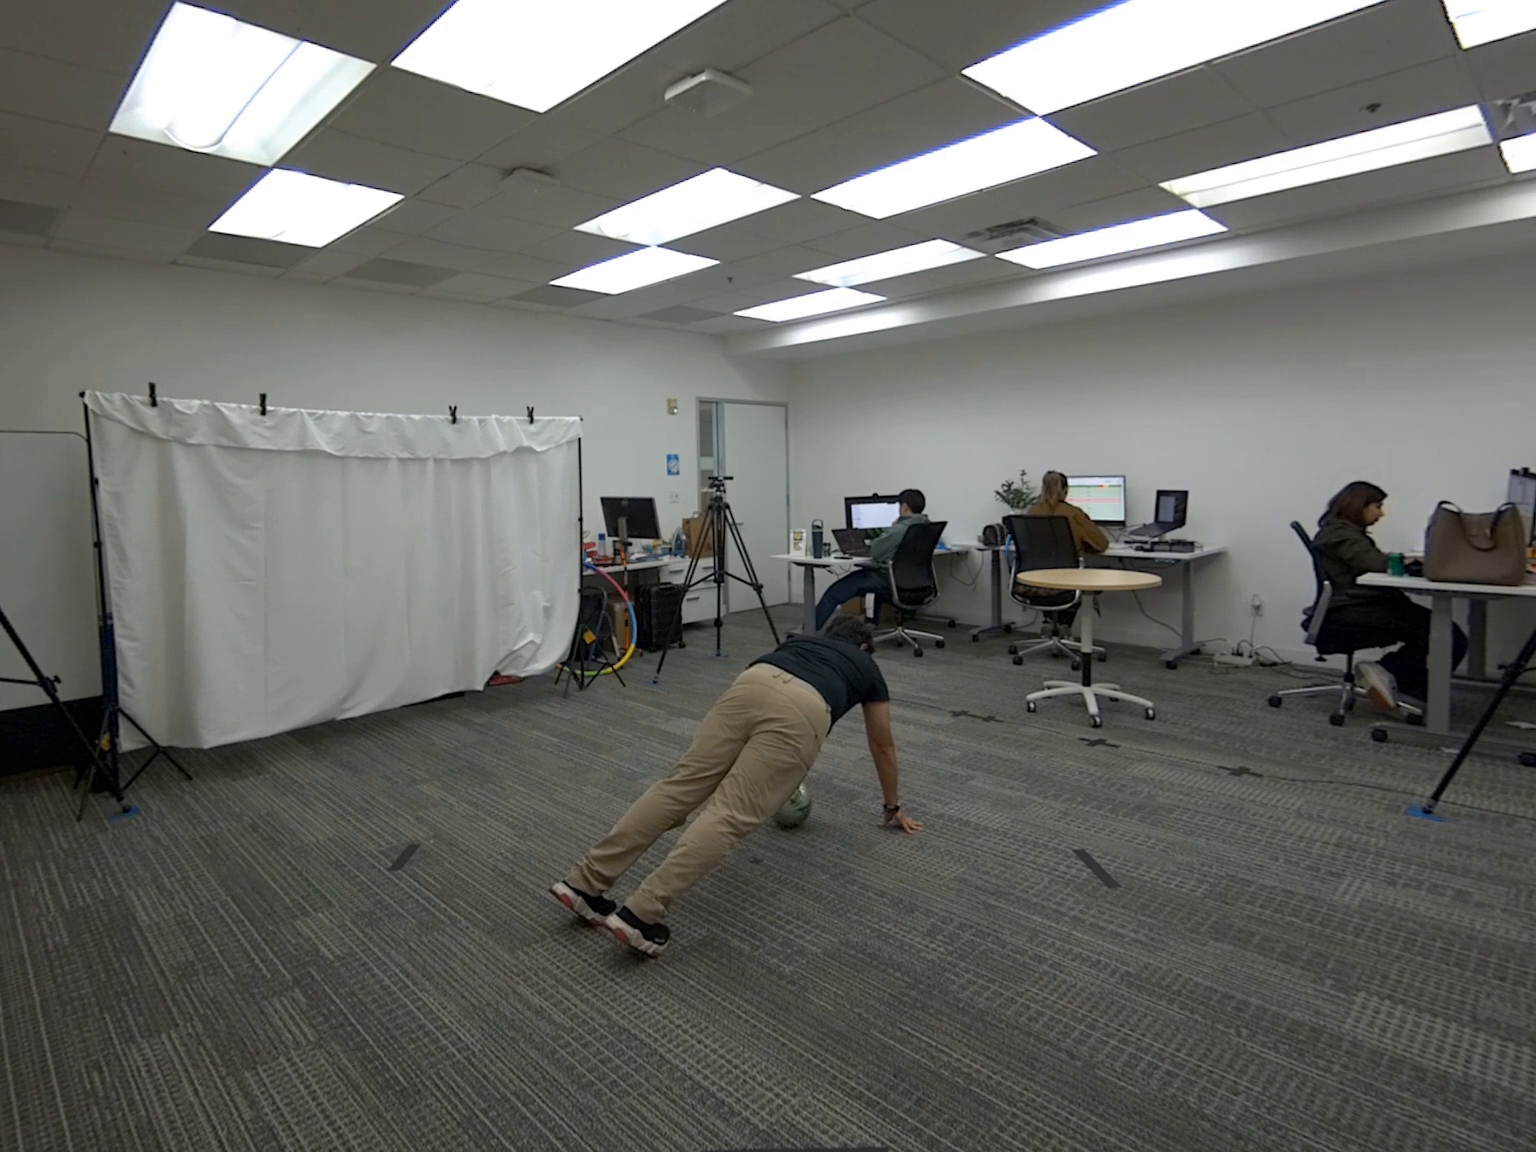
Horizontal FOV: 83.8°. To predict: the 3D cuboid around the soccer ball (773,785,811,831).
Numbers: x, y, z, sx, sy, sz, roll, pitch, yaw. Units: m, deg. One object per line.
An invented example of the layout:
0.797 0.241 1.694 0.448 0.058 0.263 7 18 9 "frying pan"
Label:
0.090 0.906 3.415 0.187 0.187 0.188 -1 5 -2 "soccer ball"
